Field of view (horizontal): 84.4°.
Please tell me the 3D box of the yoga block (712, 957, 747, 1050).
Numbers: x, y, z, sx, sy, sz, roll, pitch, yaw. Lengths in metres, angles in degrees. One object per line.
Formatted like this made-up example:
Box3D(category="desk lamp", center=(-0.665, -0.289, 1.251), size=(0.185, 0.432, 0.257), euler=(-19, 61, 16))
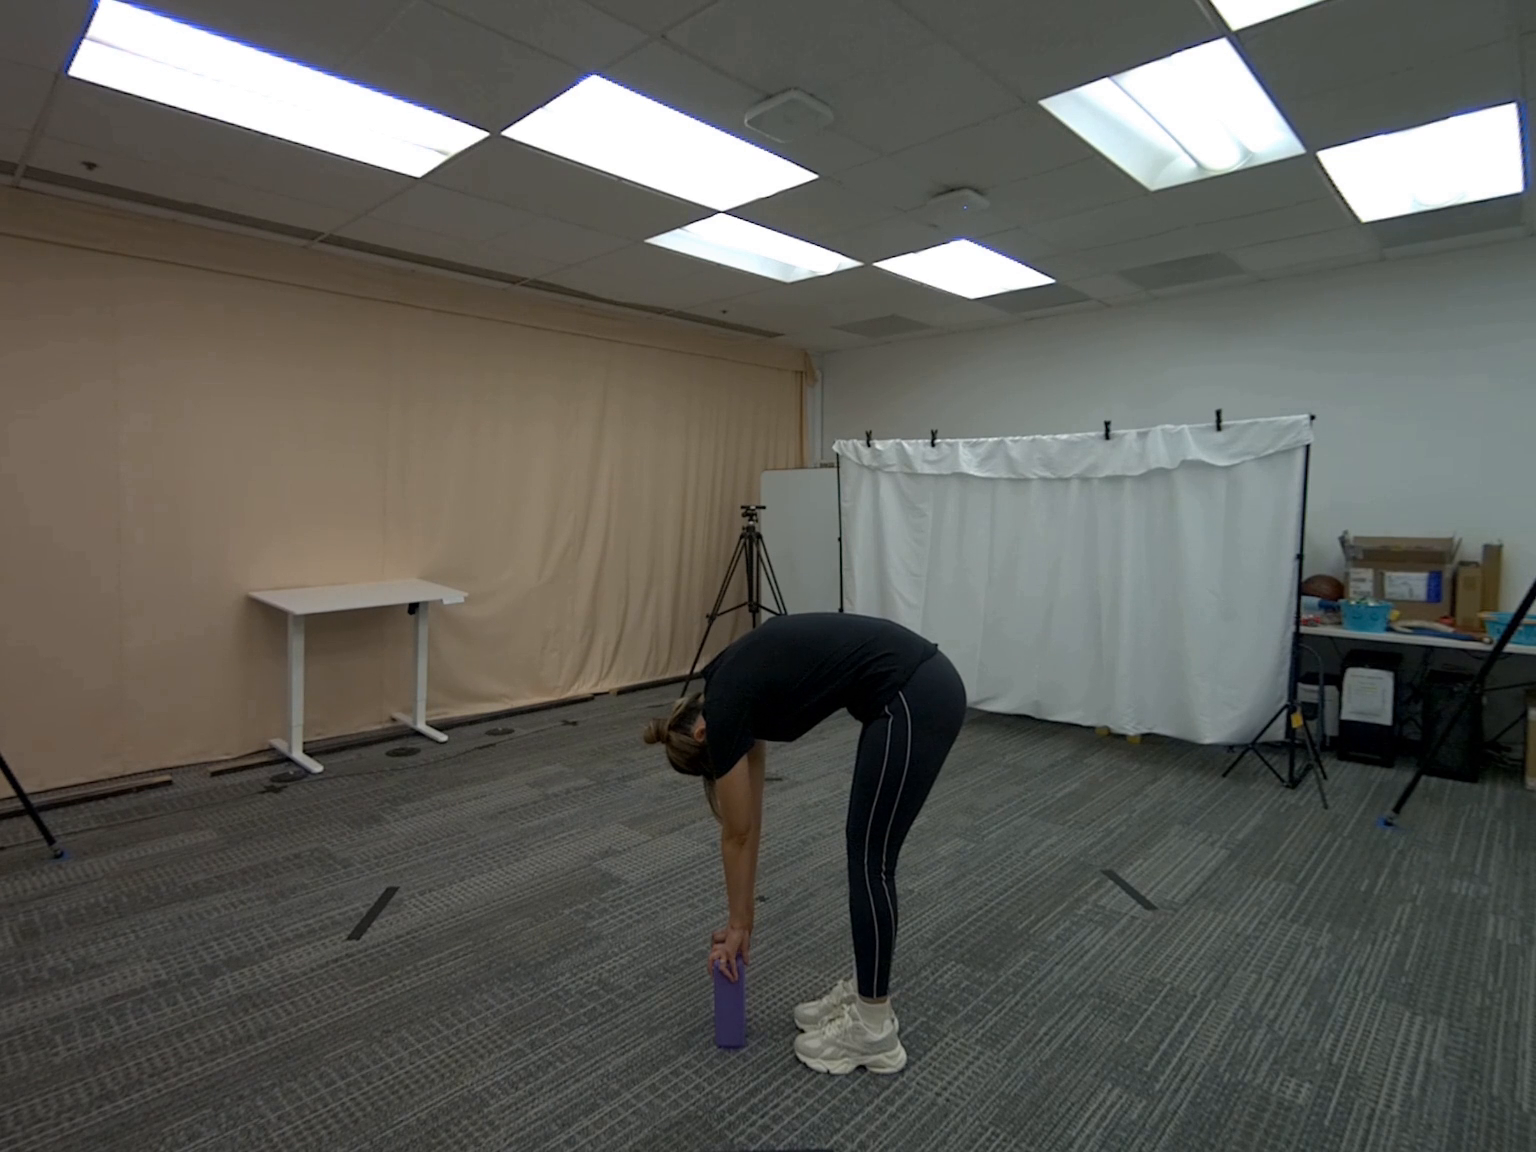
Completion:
Box3D(category="yoga block", center=(-0.099, 1.102, 2.222), size=(0.076, 0.229, 0.149), euler=(0, 2, 0))
